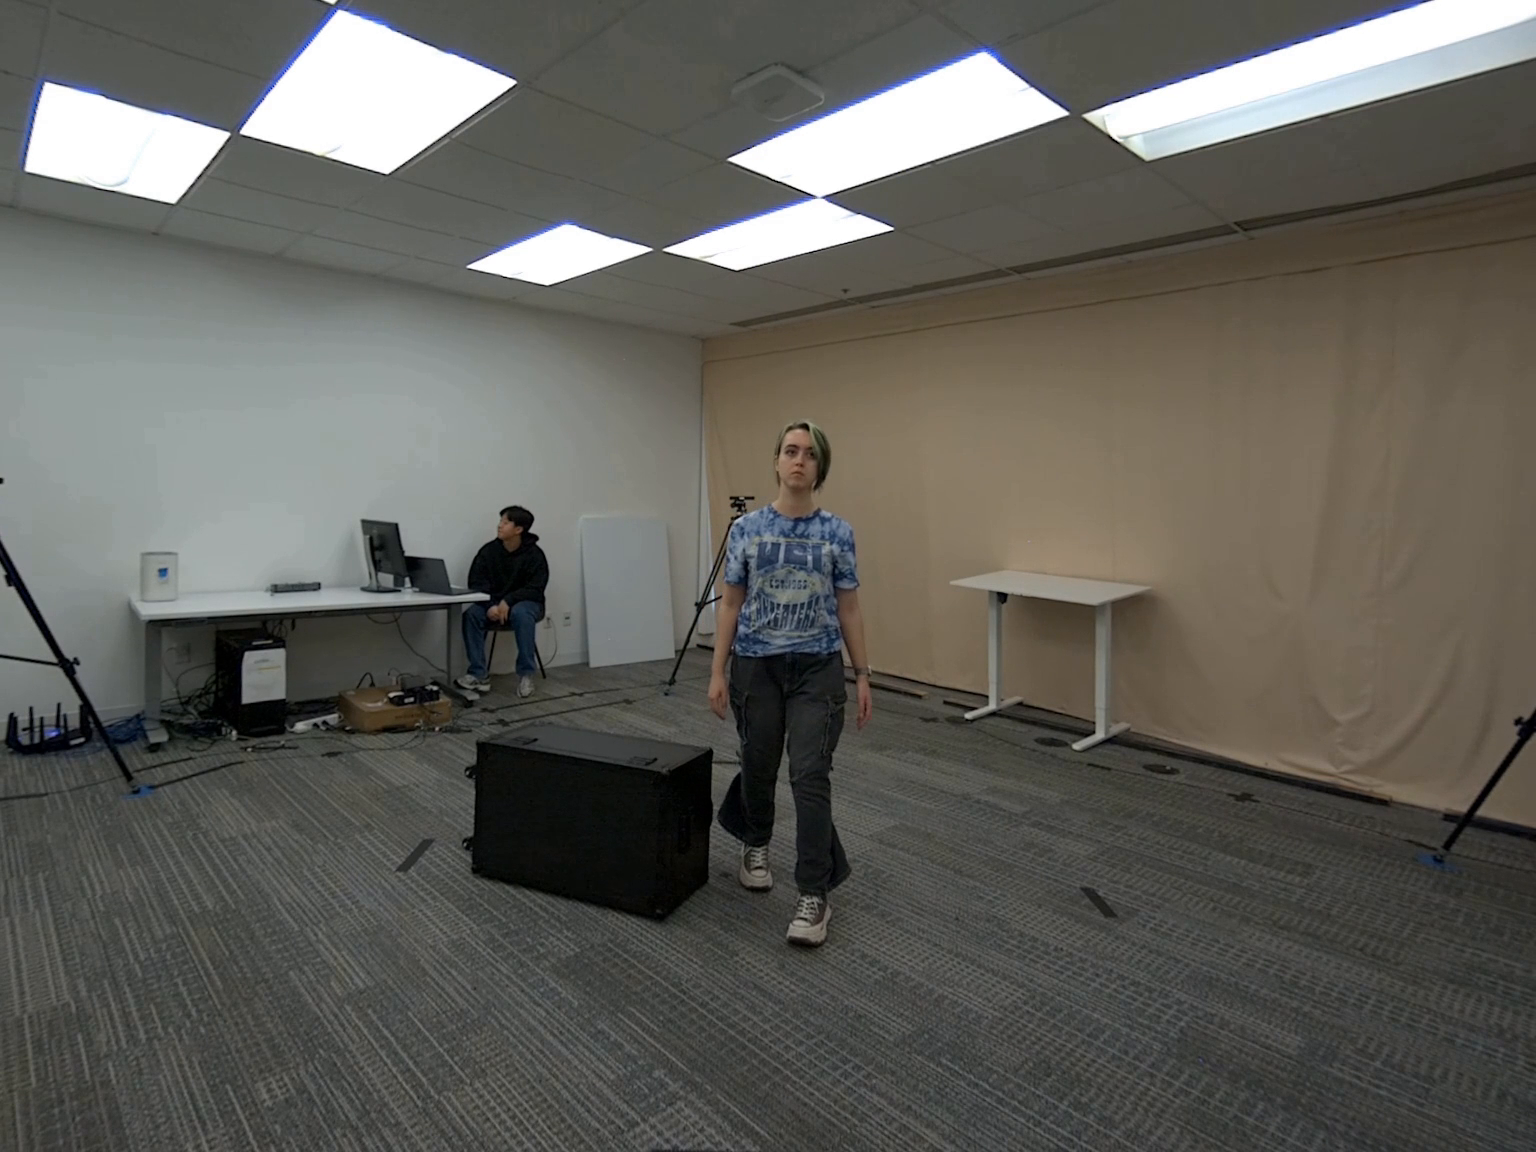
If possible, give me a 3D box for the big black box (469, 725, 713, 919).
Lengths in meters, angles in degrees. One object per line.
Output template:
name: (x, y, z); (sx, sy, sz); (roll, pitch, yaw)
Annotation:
big black box: (-0.672, 0.843, 3.067); (0.877, 0.521, 0.389); (4, 2, 22)
